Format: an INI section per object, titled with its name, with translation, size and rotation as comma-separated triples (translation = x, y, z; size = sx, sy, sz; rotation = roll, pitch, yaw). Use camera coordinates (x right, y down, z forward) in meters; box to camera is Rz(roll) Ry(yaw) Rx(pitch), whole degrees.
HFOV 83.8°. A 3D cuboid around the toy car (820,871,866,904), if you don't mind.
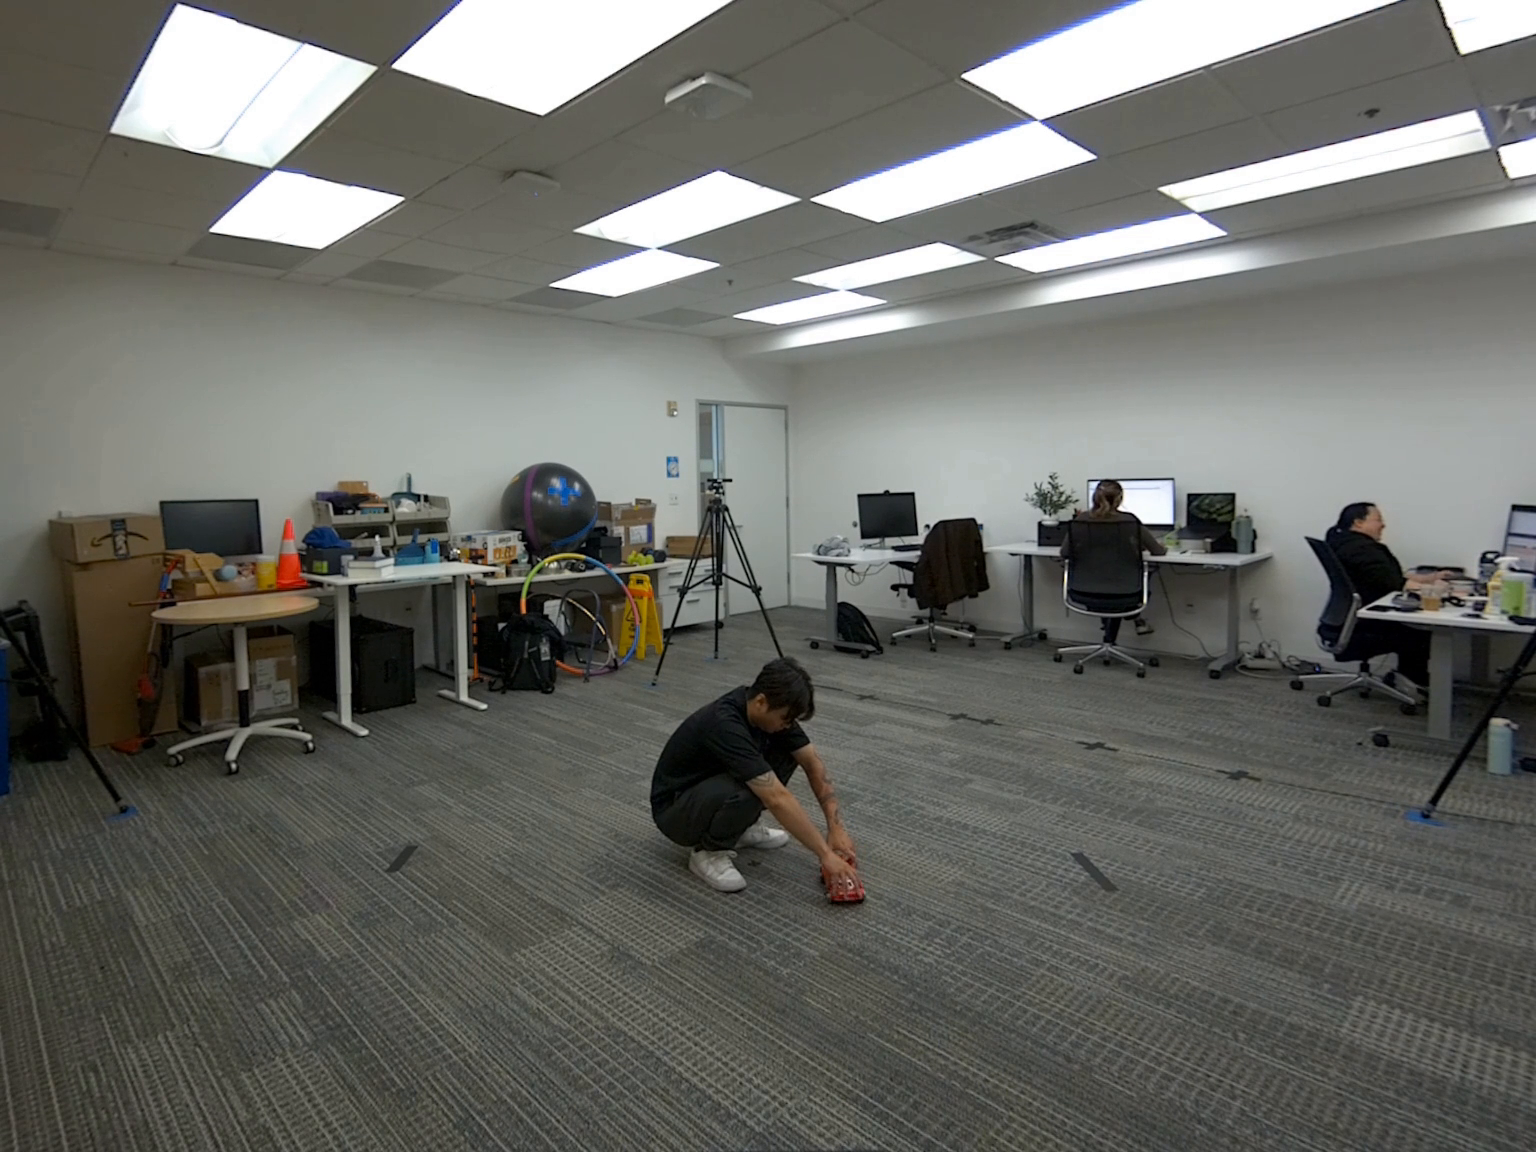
[toy car]
translation = 0.251, 1.031, 2.903
size = 0.129, 0.082, 0.259
rotation = -3, 17, -6
